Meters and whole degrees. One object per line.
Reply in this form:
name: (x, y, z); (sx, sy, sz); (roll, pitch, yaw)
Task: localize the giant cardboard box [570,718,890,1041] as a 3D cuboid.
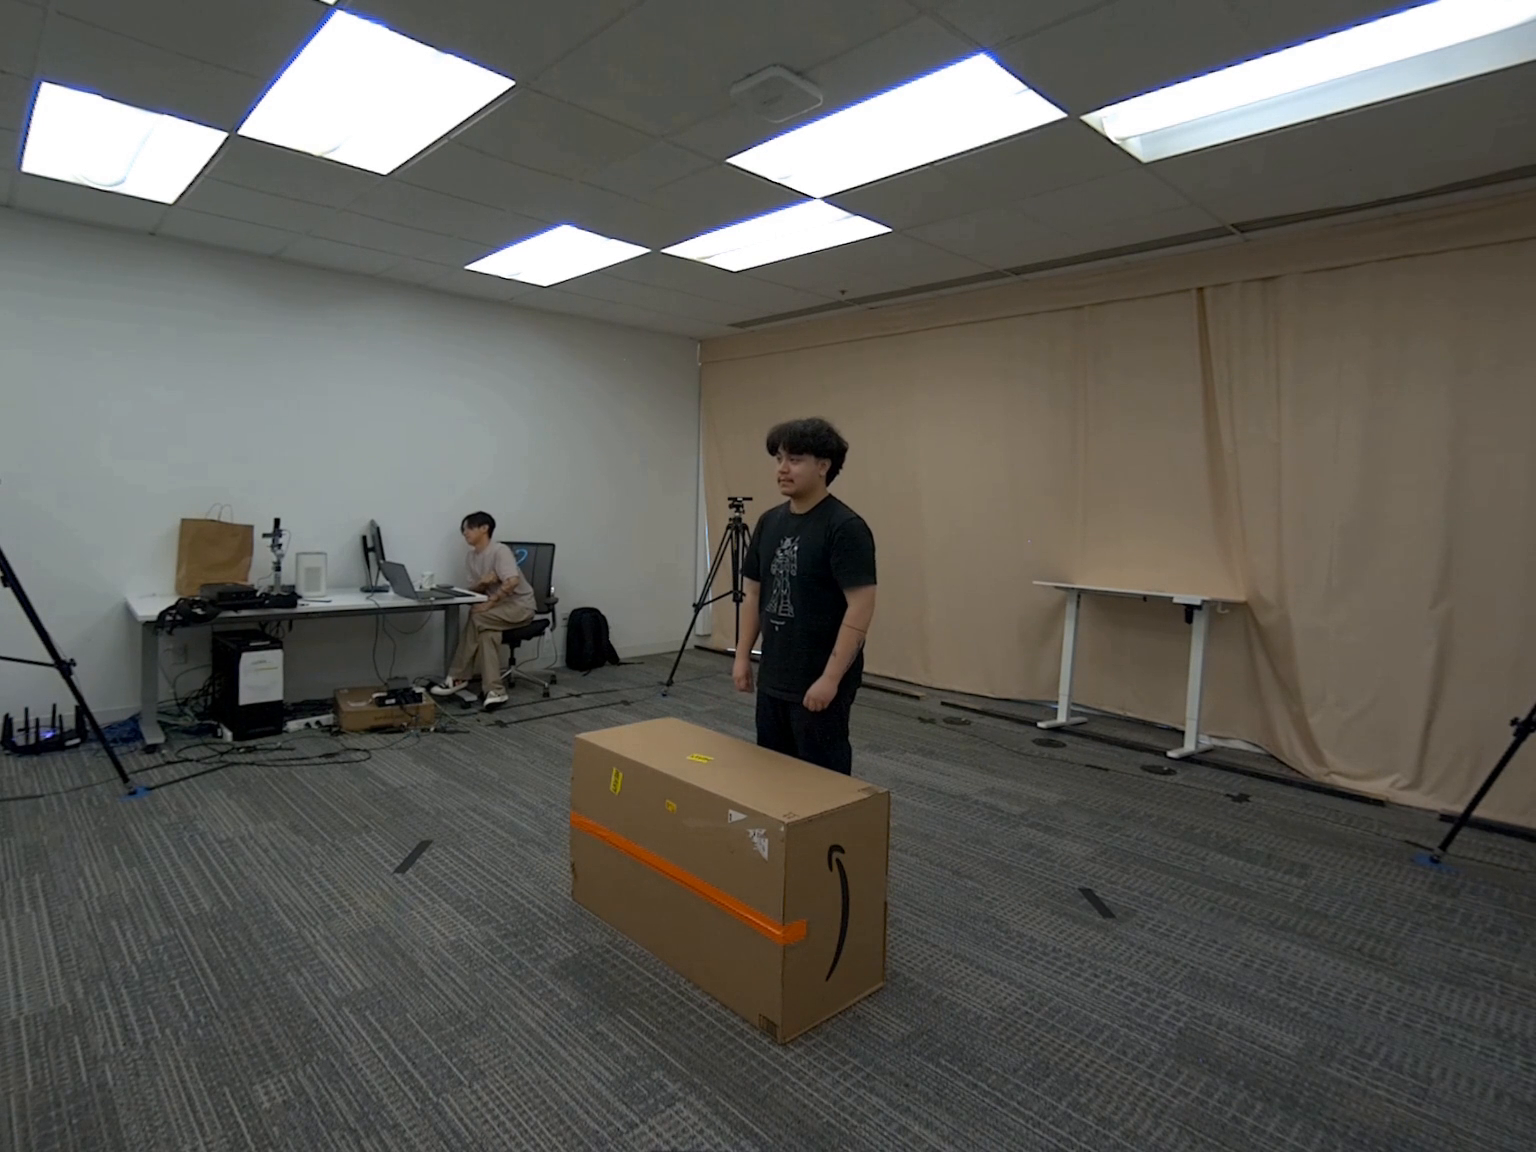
giant cardboard box: (-0.174, 0.866, 2.639); (0.437, 0.582, 1.053); (-3, 6, -43)
